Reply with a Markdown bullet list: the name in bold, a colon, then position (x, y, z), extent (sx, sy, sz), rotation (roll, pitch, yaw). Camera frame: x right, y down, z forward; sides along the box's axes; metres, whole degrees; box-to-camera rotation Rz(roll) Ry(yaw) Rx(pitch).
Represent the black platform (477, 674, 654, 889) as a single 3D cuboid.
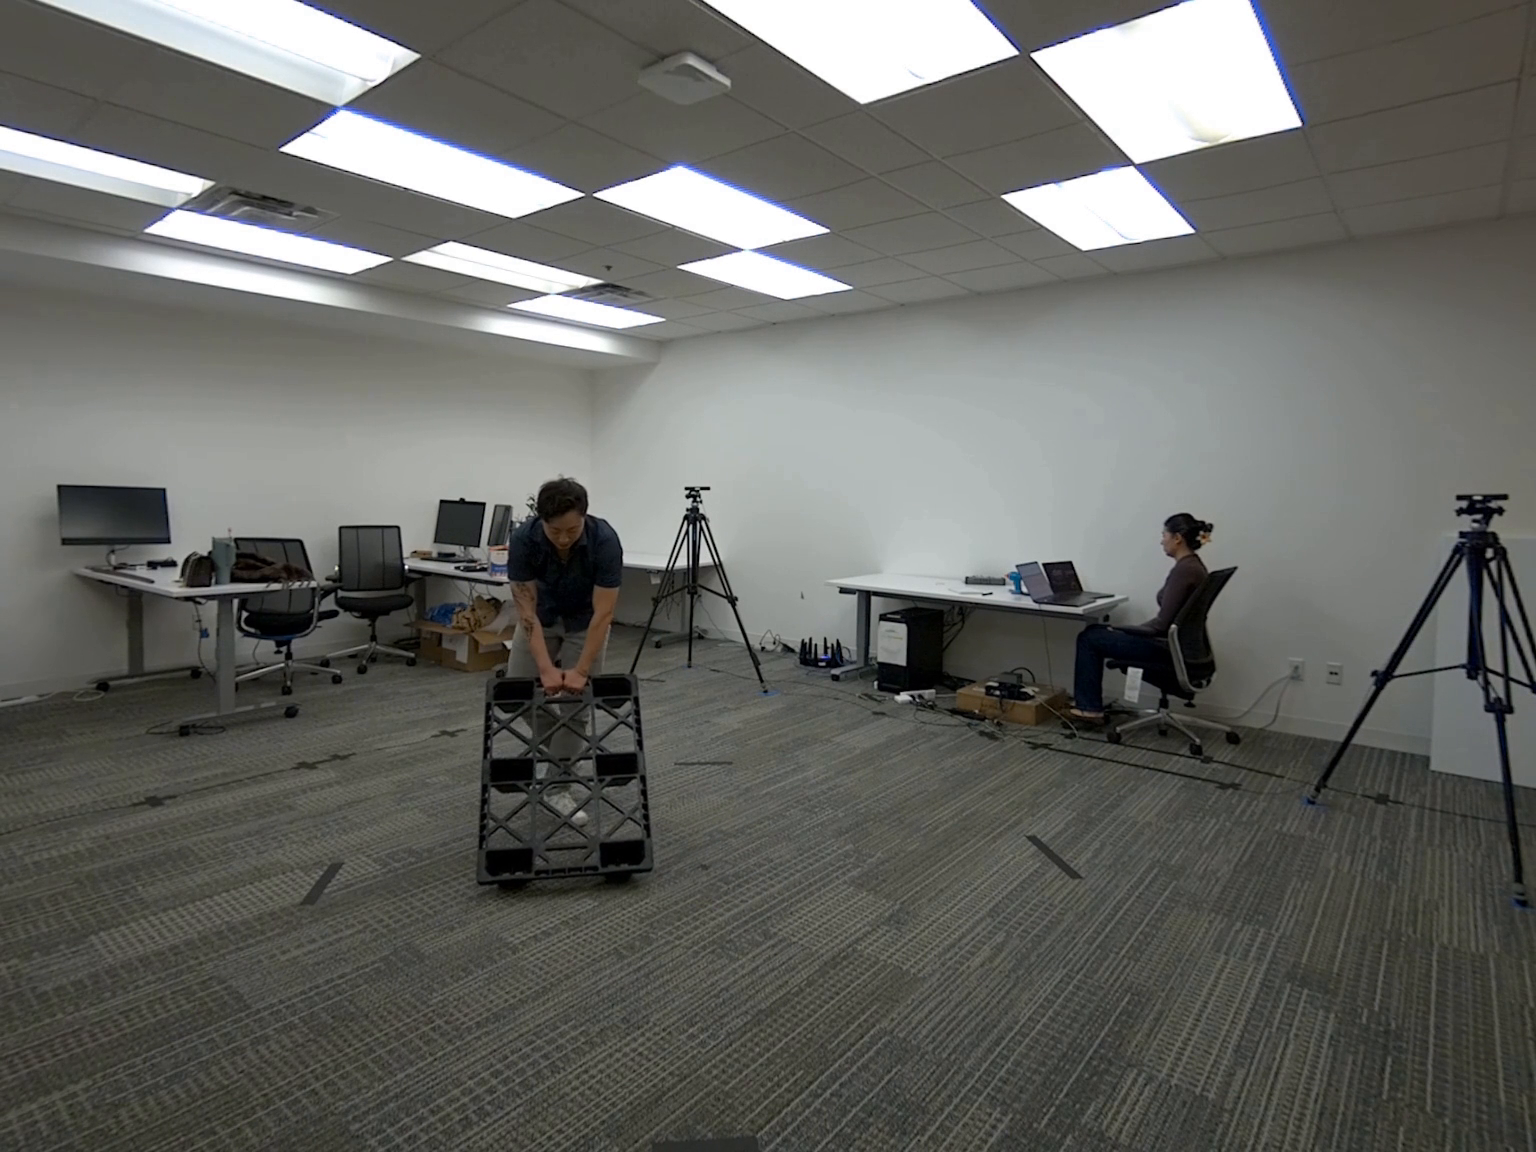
- **black platform**: position (-0.772, 0.743, 3.198), extent (0.597, 0.833, 0.140), rotation (-1, -41, -13)
